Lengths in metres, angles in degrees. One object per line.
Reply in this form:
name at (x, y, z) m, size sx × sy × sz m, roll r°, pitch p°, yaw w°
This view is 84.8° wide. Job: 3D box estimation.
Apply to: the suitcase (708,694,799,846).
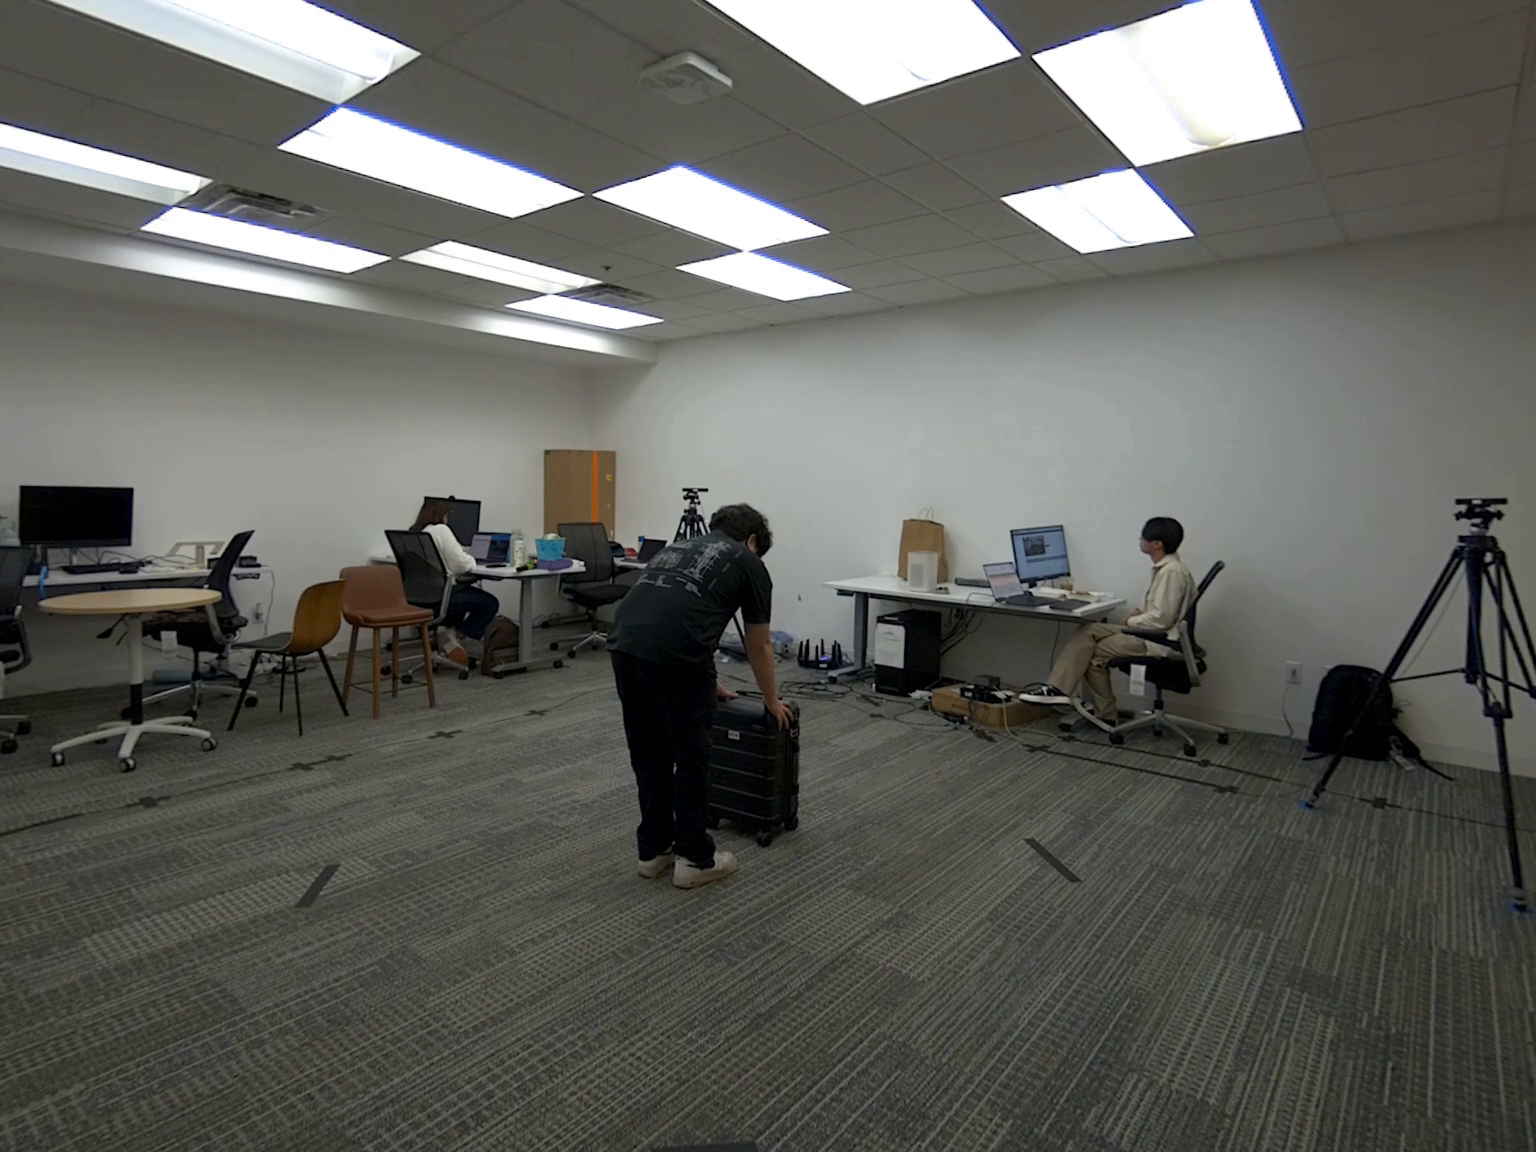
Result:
suitcase at (-0.071, 0.761, 3.506) m, size 0.387 × 0.548 × 0.241 m, roll 4°, pitch 3°, yaw 31°
